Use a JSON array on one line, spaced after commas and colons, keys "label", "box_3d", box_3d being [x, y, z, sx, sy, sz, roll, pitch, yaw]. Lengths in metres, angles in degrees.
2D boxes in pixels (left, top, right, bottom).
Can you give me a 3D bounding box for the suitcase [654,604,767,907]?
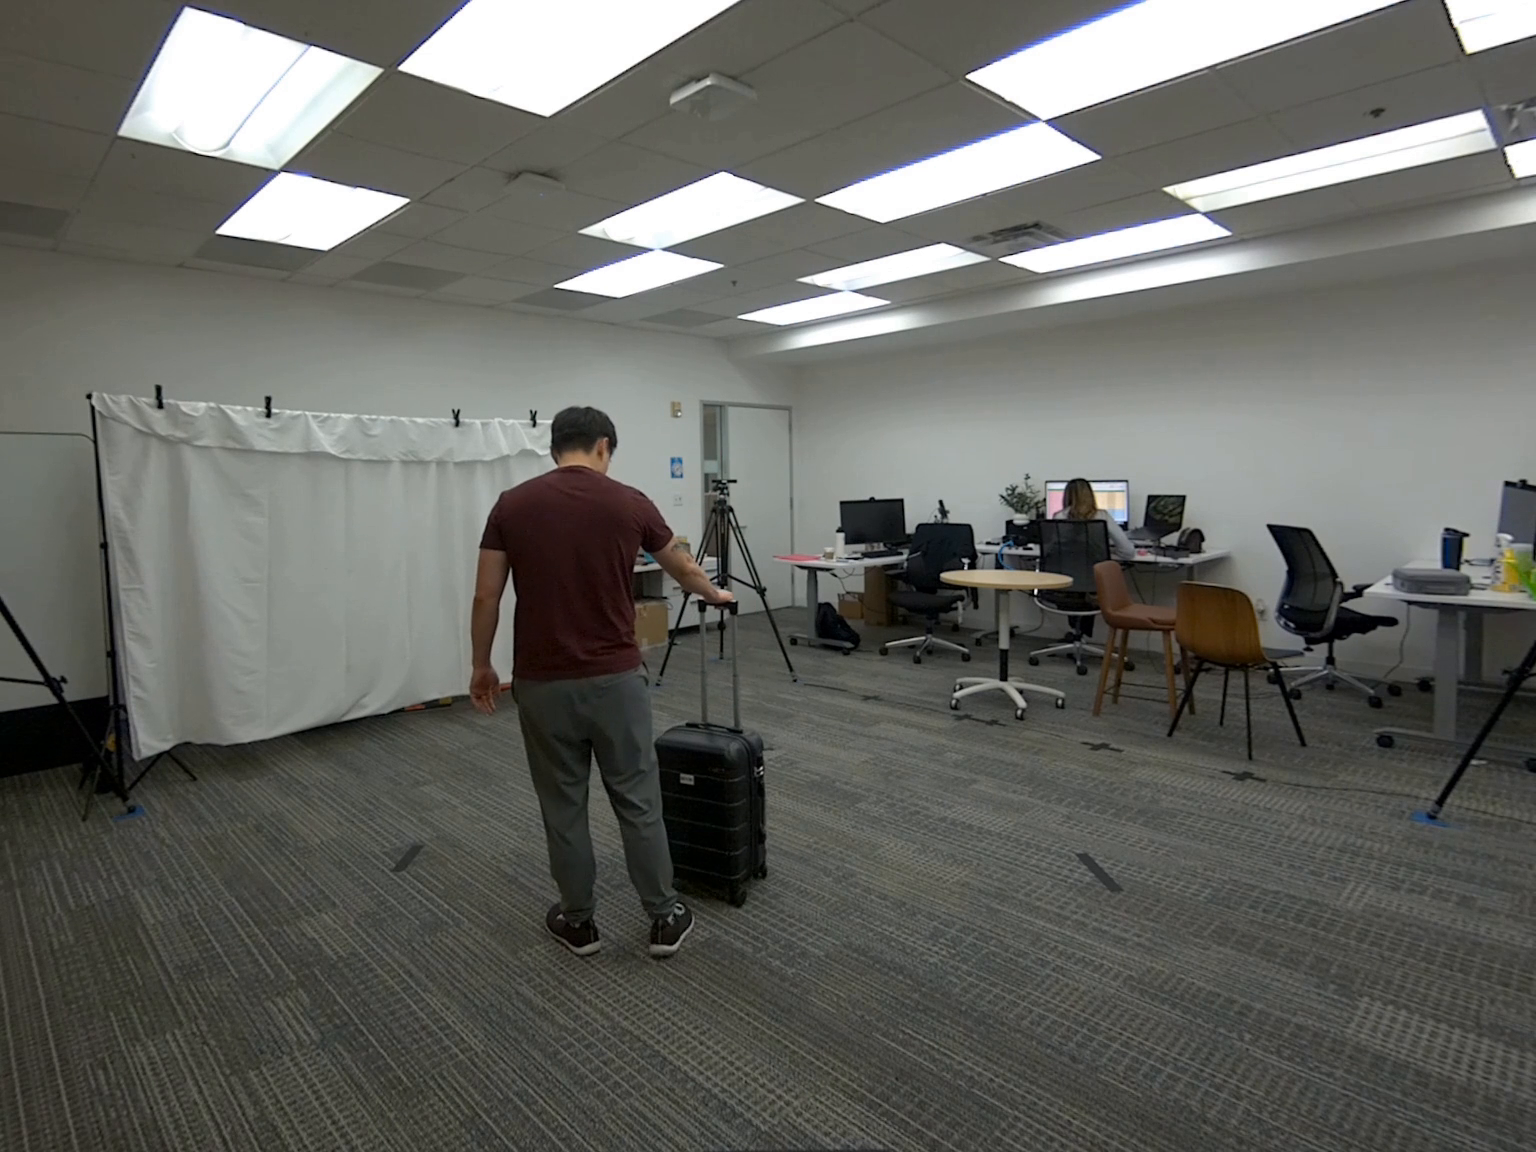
[{"label": "suitcase", "box_3d": [-0.200, 0.592, 2.917, 0.393, 0.973, 0.252, 2, 7, 26]}]
